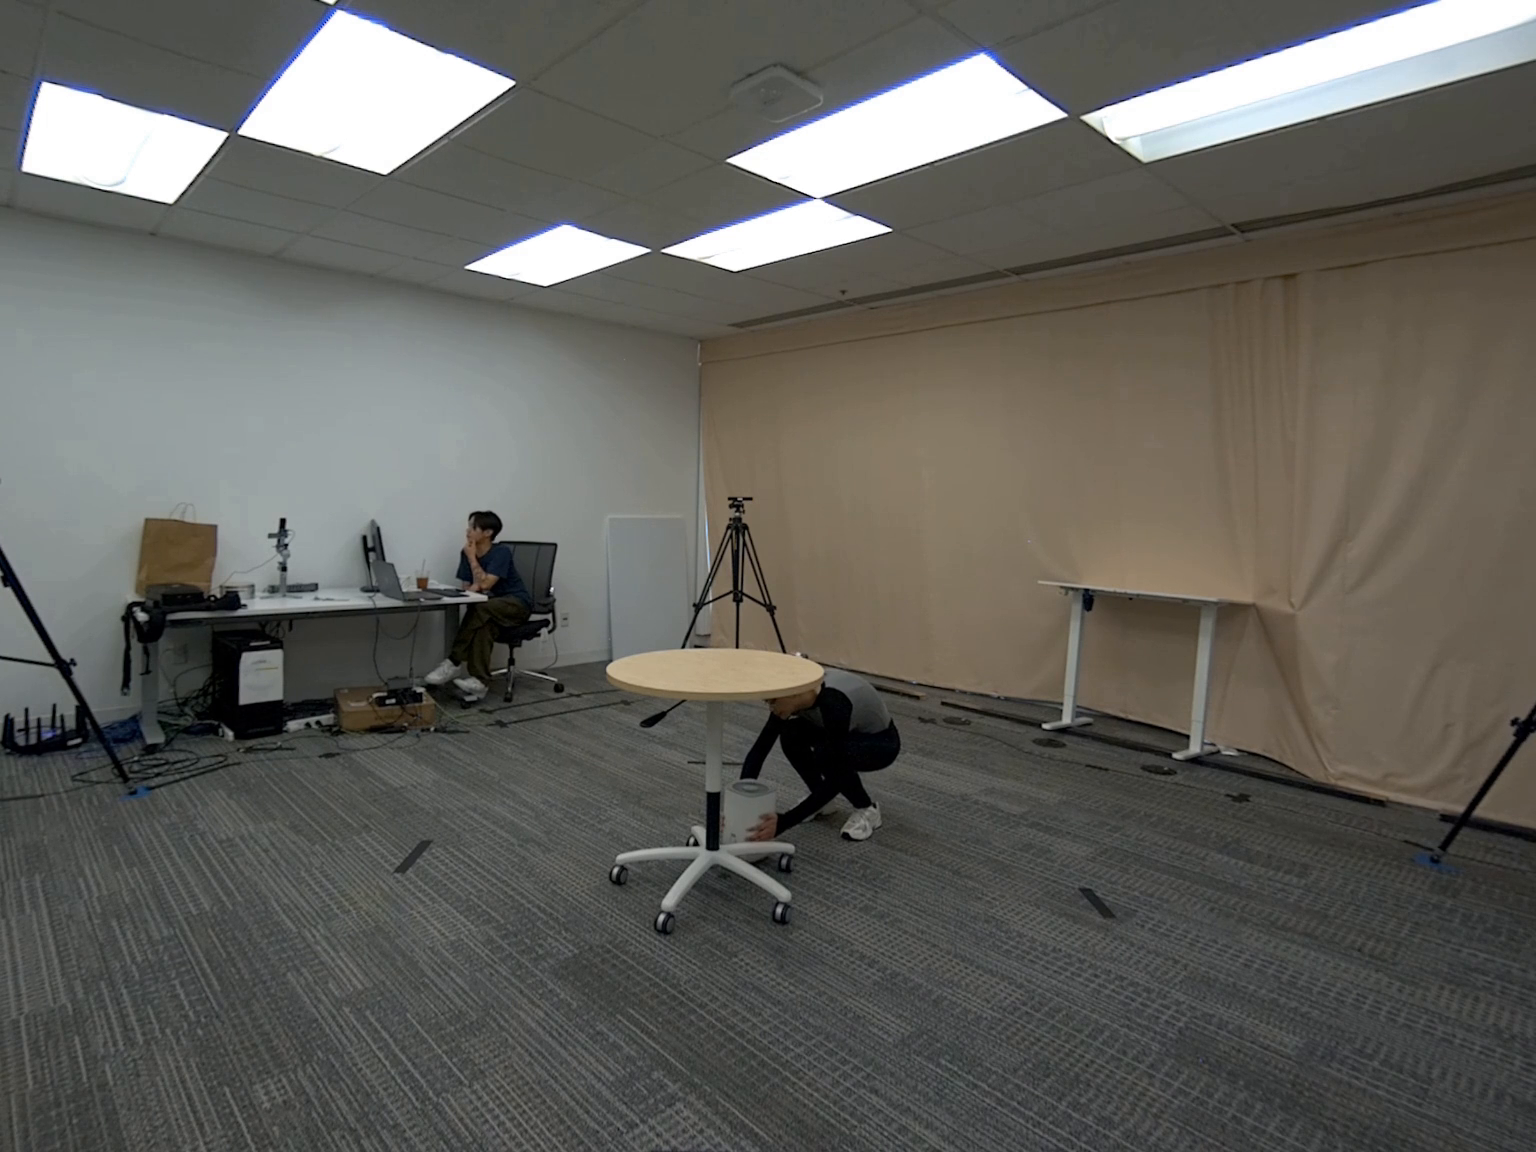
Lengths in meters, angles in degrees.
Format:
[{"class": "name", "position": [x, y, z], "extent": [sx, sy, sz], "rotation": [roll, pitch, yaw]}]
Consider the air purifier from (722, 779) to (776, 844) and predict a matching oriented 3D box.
[{"class": "air purifier", "position": [-0.079, 0.943, 3.262], "extent": [0.175, 0.265, 0.167], "rotation": [5, 4, 40]}]
